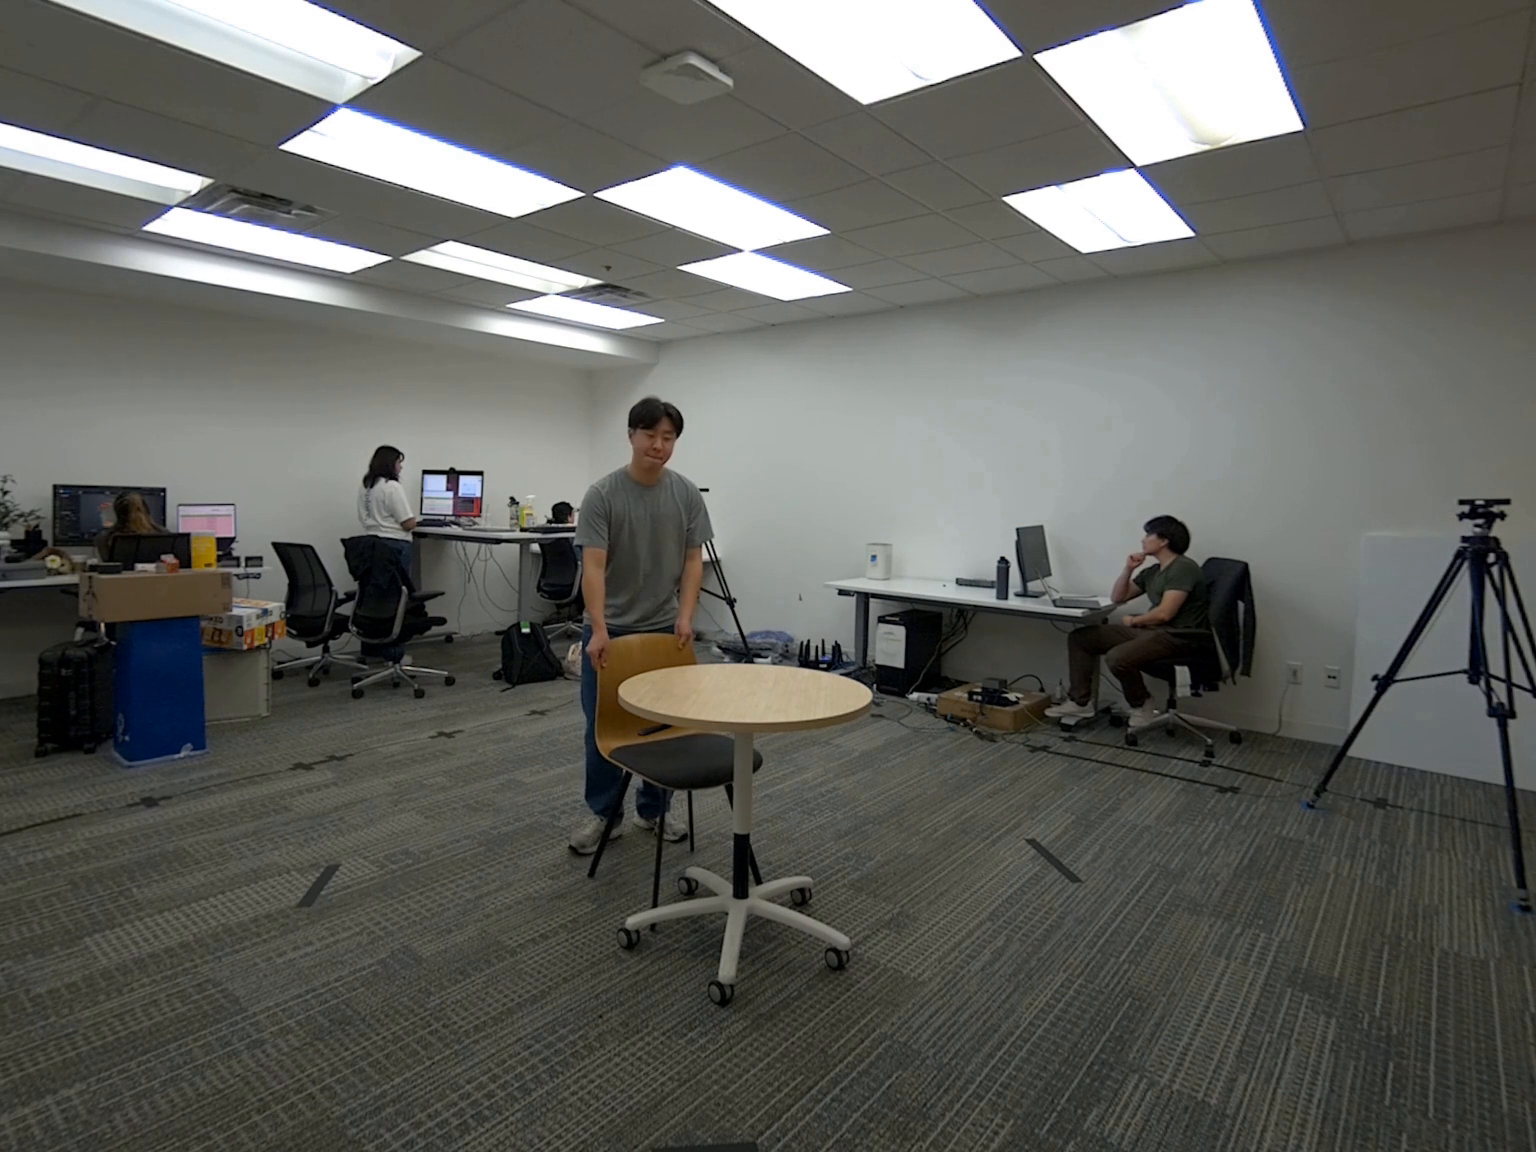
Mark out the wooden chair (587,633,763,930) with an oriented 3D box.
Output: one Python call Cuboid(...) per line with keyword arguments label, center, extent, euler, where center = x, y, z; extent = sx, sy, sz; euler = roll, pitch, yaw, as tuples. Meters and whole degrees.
Cuboid(label="wooden chair", center=(-0.327, 0.652, 2.937), extent=(0.464, 0.878, 0.538), euler=(-1, -1, -36))
